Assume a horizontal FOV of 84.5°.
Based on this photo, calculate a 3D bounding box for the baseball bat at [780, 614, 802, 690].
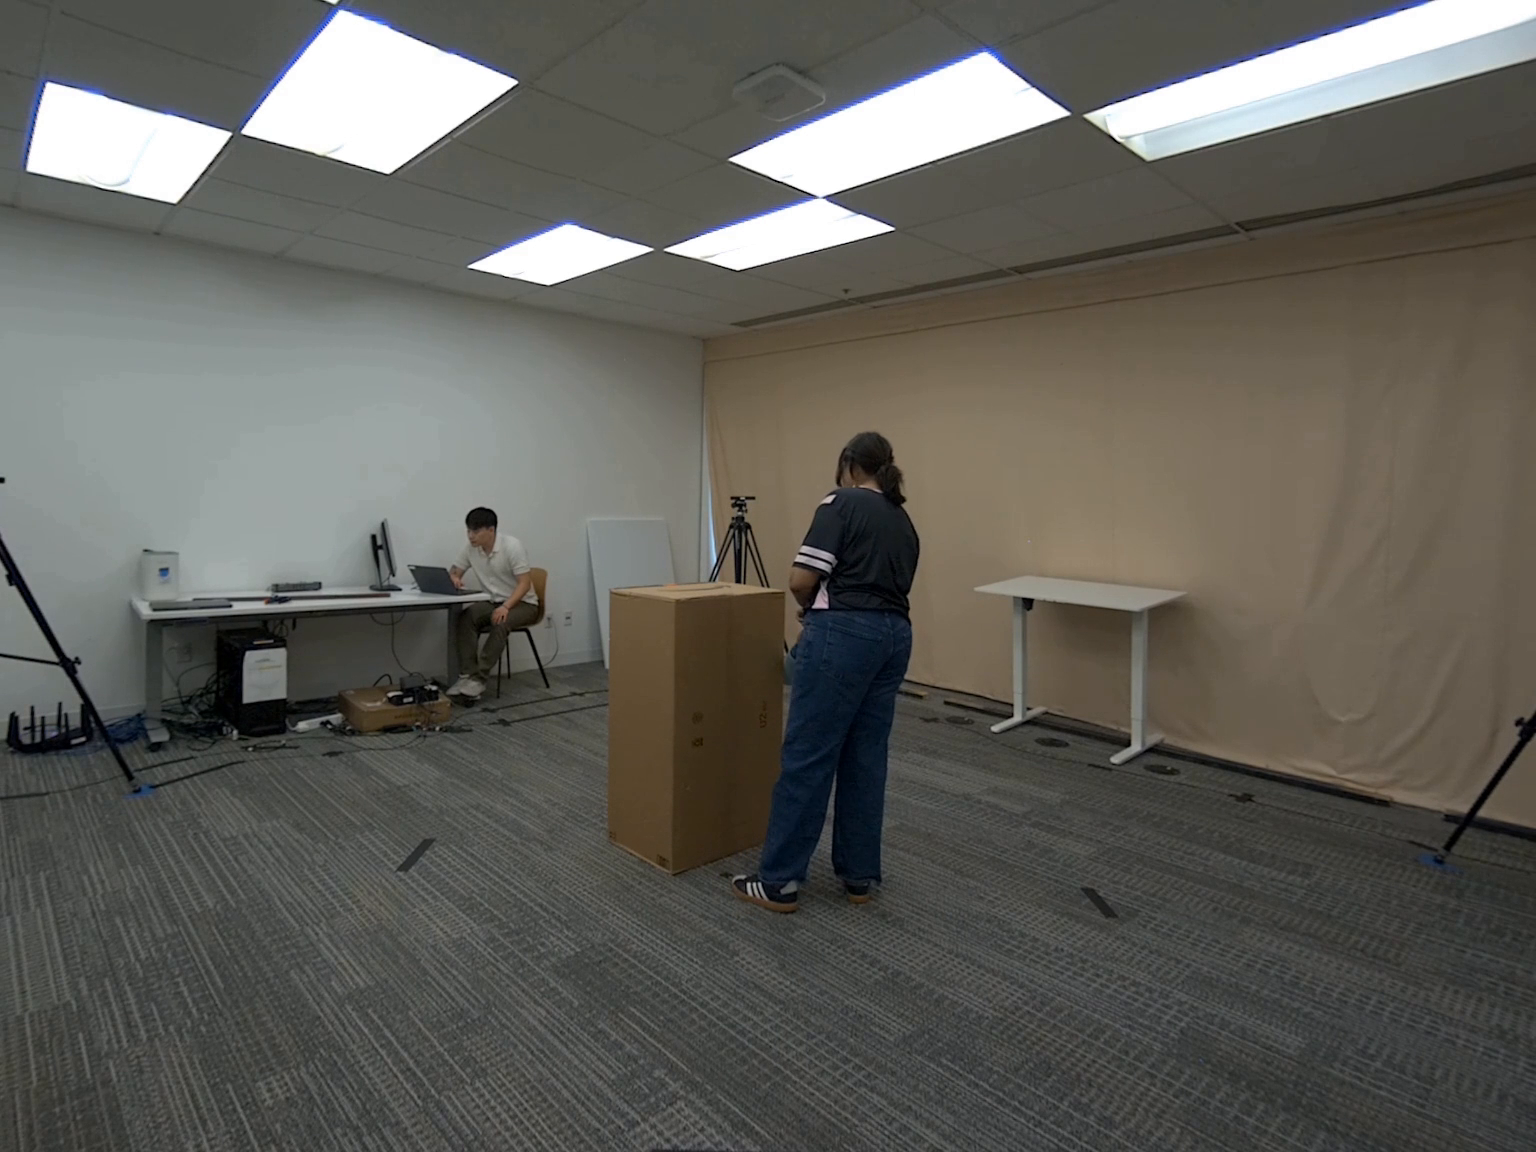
[{"bbox_3d":[0.130,0.304,3.341,0.088,0.091,0.535,2,-30,-7],"label":"baseball bat"}]
